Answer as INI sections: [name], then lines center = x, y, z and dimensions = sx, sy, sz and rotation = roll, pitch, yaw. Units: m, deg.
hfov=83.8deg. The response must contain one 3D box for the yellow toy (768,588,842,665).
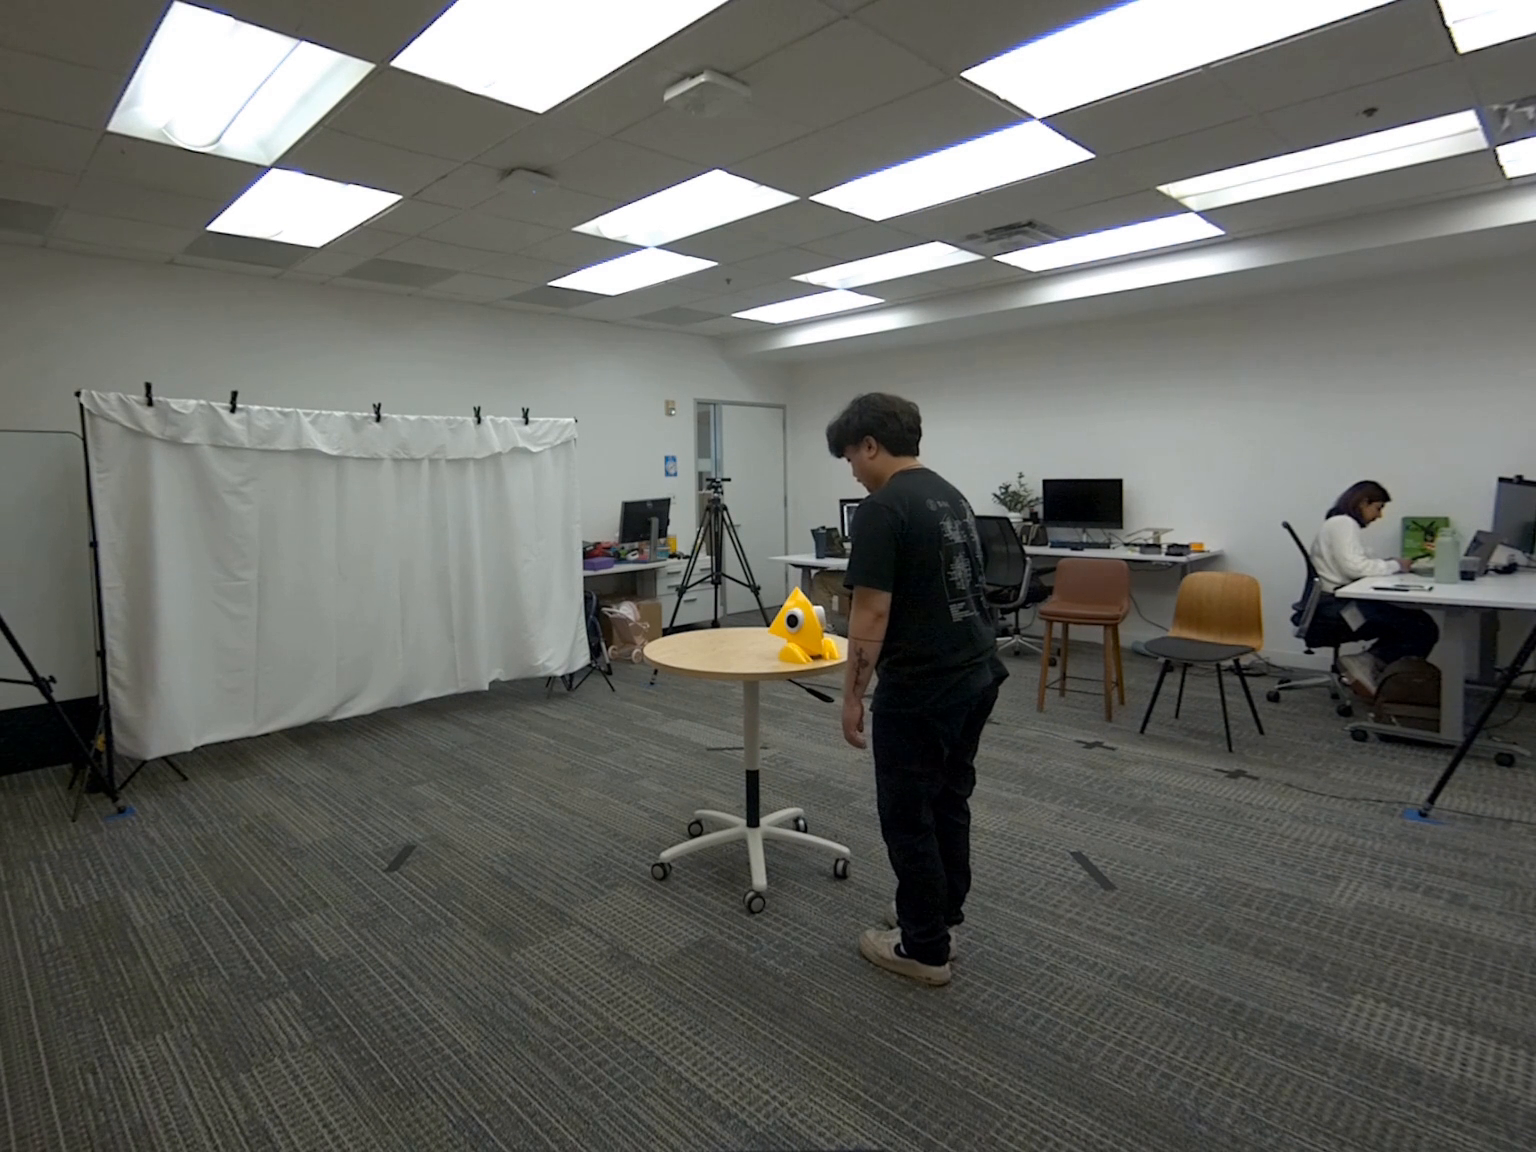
[yellow toy]
center = 0.136, 0.160, 2.879
dimensions = 0.200, 0.229, 0.198
rotation = -3, 7, -29
